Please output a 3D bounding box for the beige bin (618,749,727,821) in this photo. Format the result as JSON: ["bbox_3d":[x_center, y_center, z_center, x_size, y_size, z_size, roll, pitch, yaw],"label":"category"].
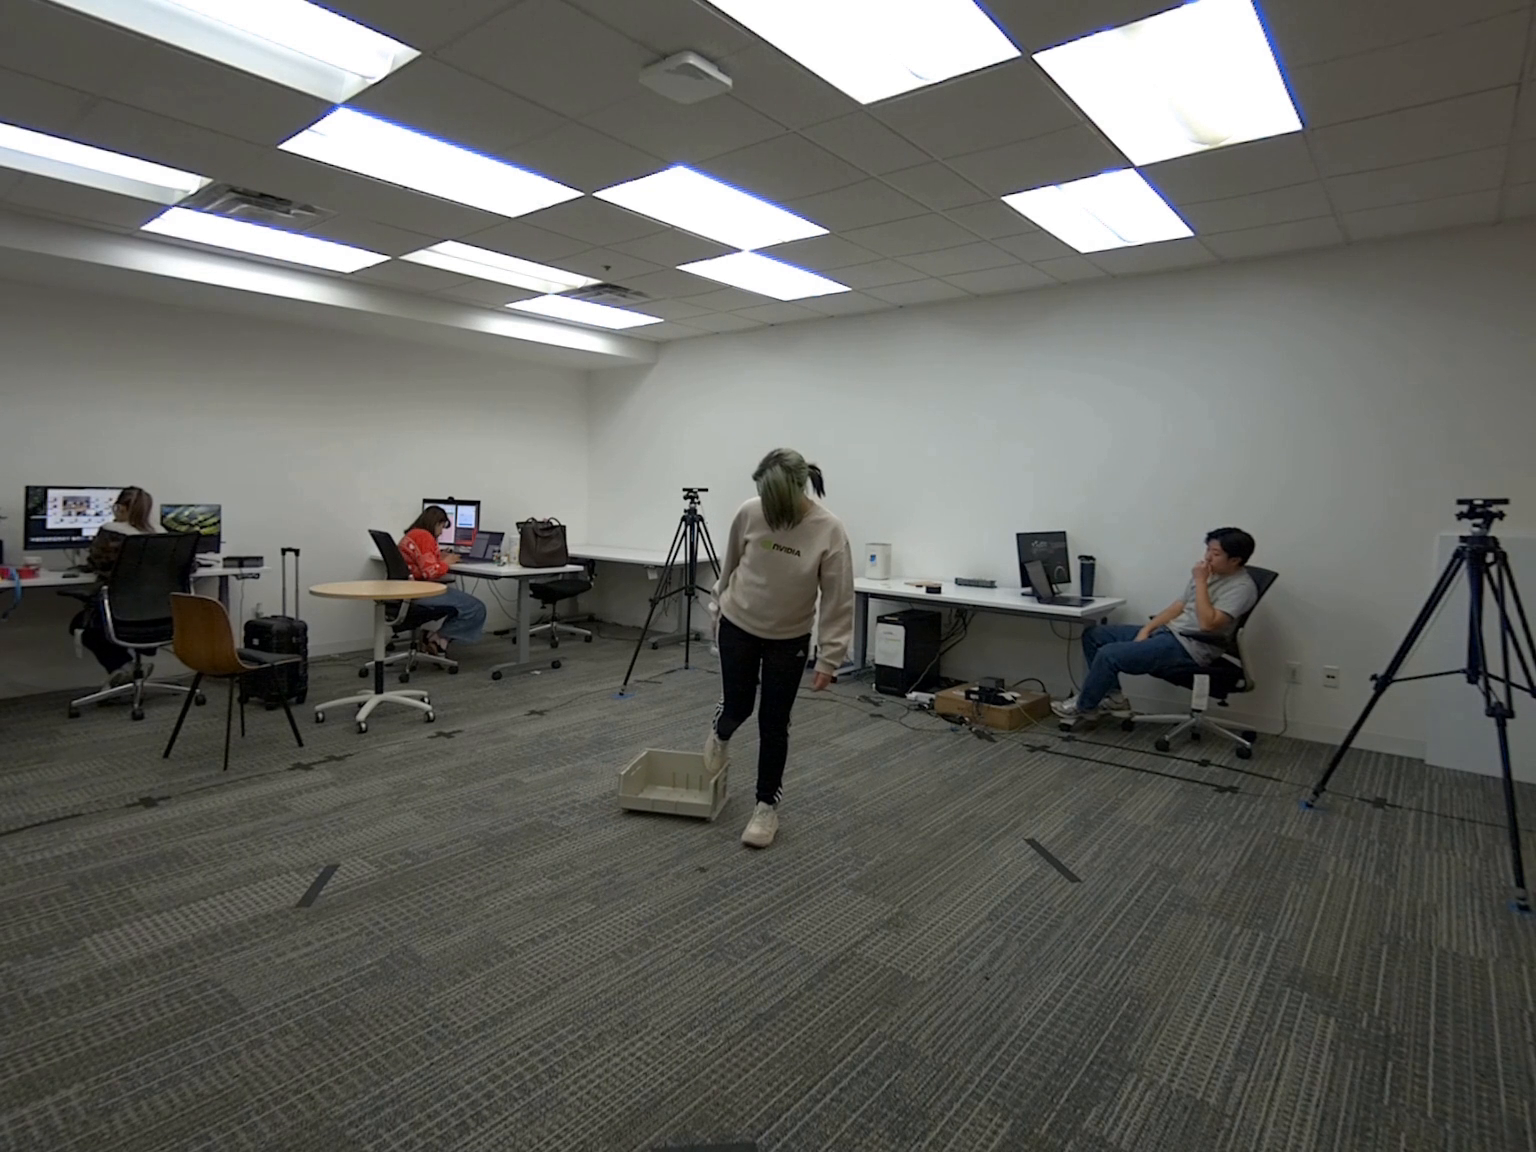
[{"bbox_3d":[-0.418,0.915,3.739,0.429,0.188,0.373,2,4,13],"label":"beige bin"}]
